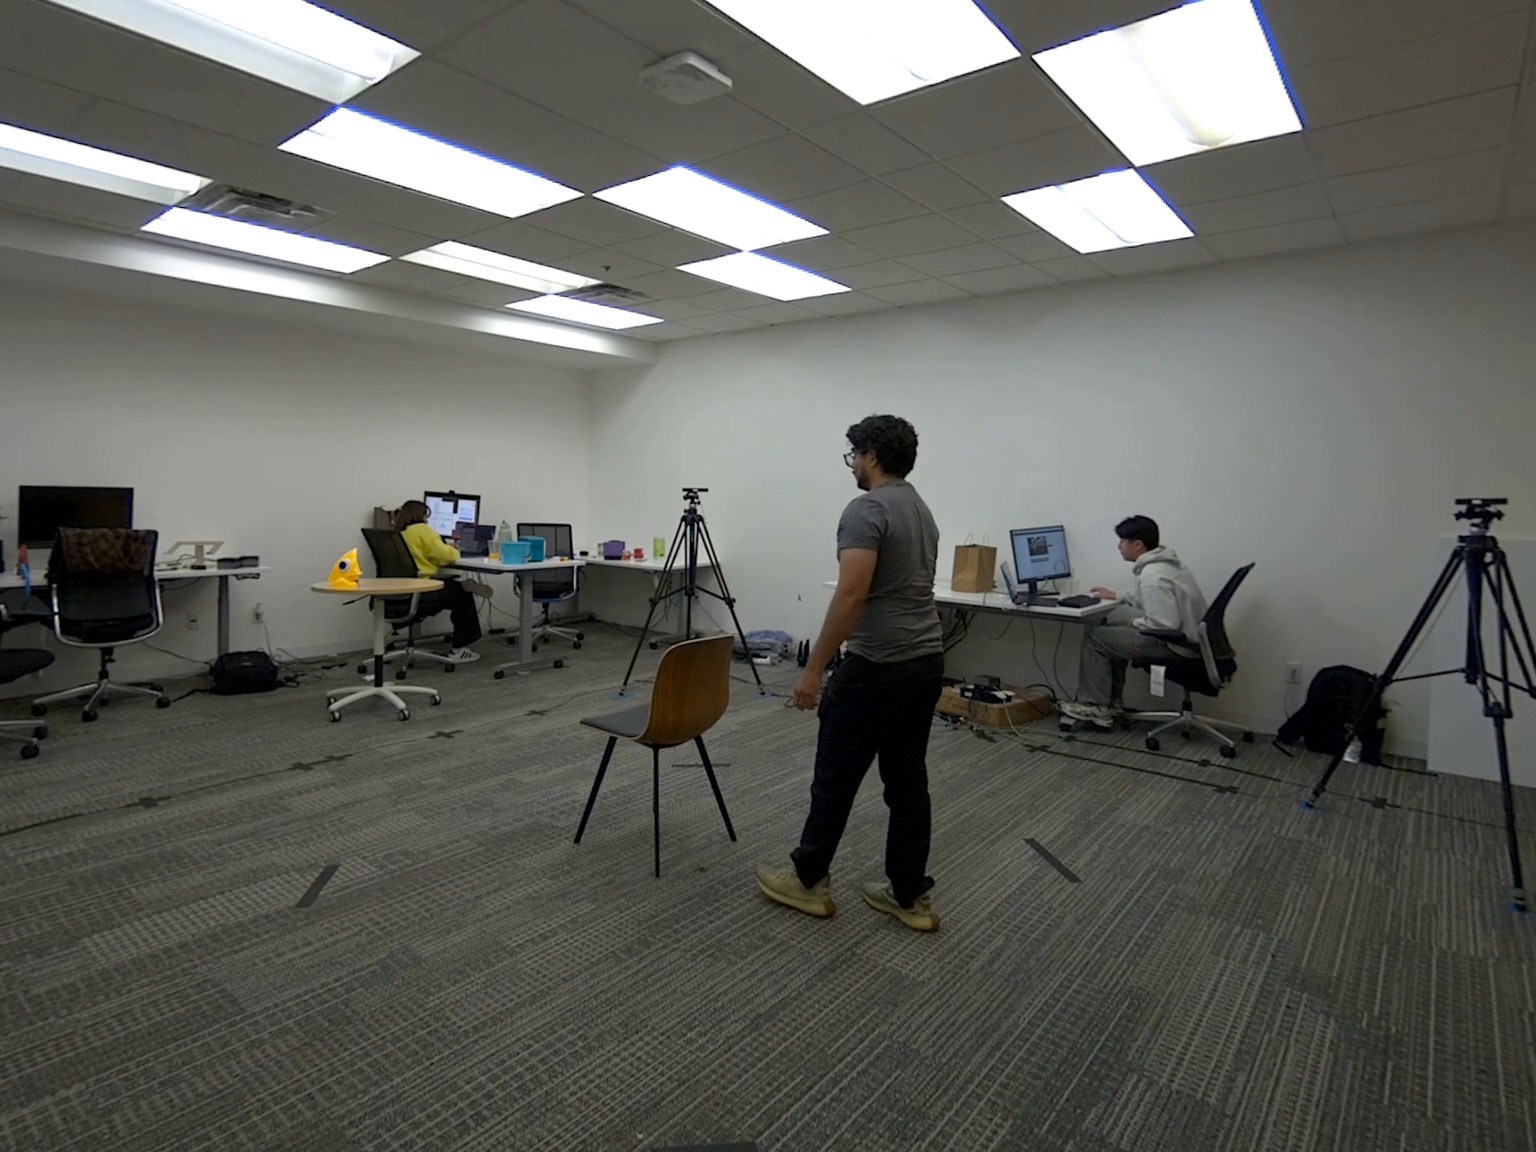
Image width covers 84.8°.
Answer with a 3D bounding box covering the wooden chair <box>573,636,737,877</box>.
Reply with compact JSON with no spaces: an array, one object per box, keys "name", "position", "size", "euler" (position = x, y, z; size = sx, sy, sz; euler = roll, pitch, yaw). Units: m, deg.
[{"name":"wooden chair","position":[-0.450,0.619,3.322],"size":[0.542,0.873,0.464],"euler":[9,7,38]}]
